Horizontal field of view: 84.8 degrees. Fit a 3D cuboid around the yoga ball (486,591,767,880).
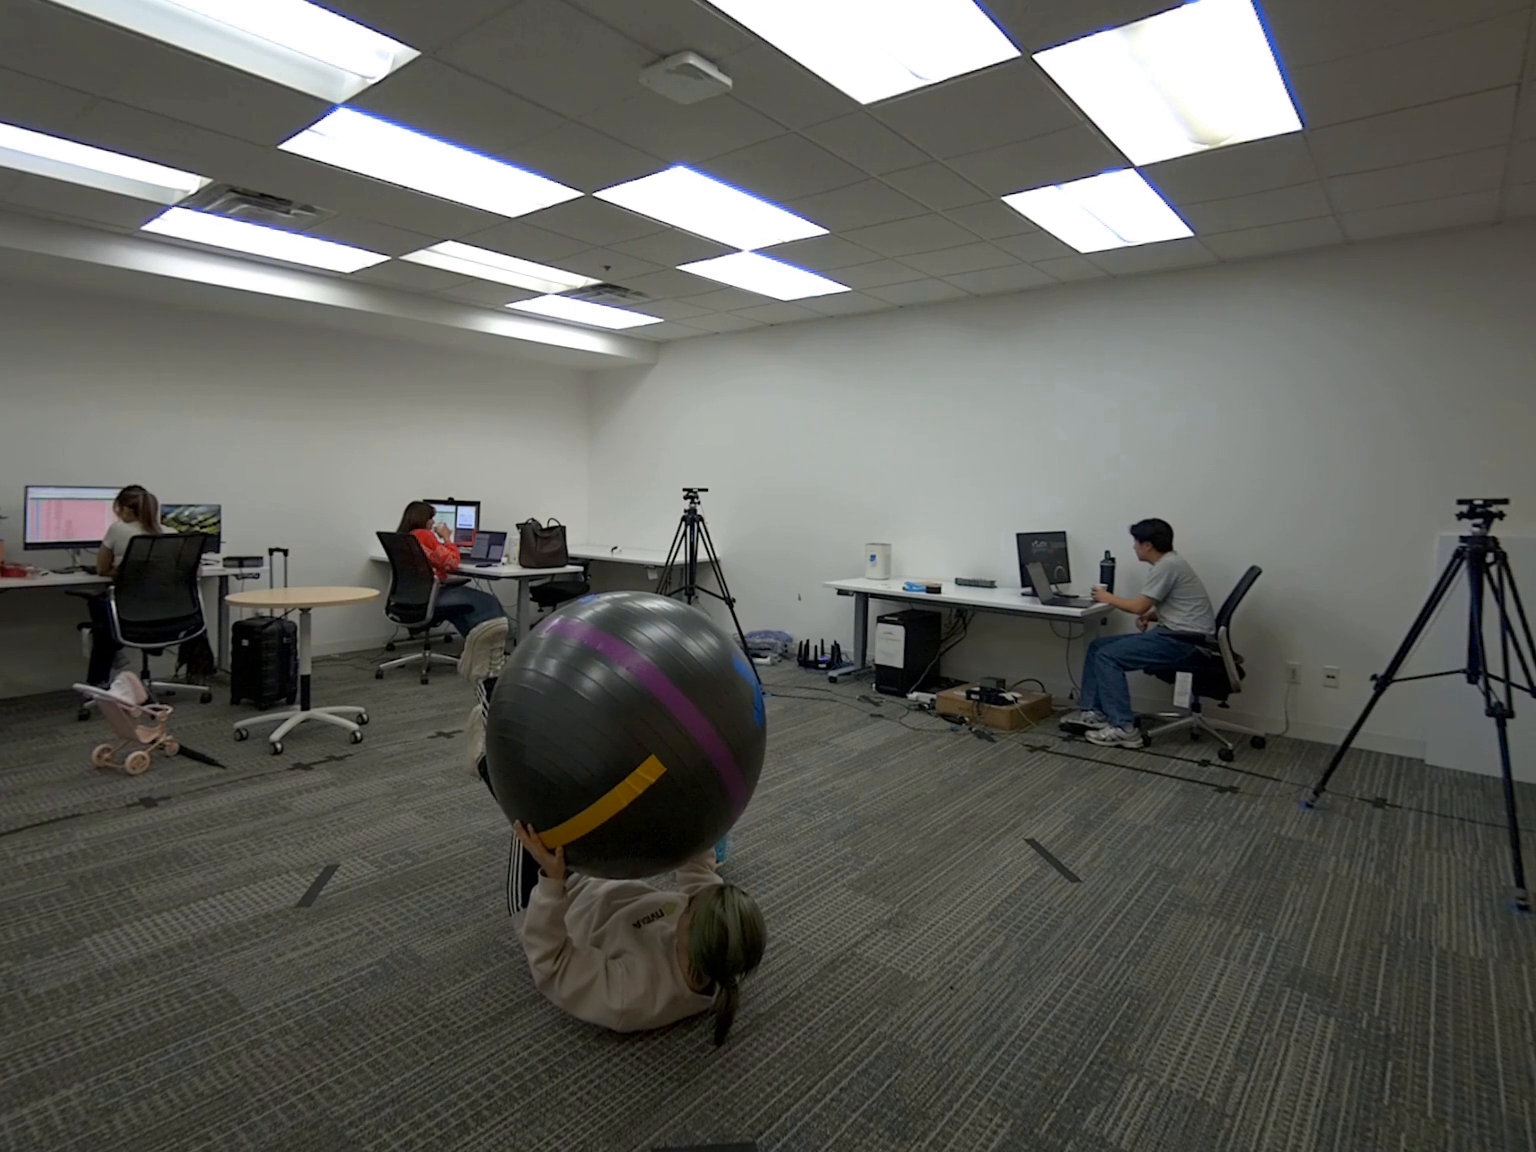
[{"bbox_3d":[-0.387,0.420,2.314,0.757,0.755,0.762,1,4,-2],"label":"yoga ball"}]
